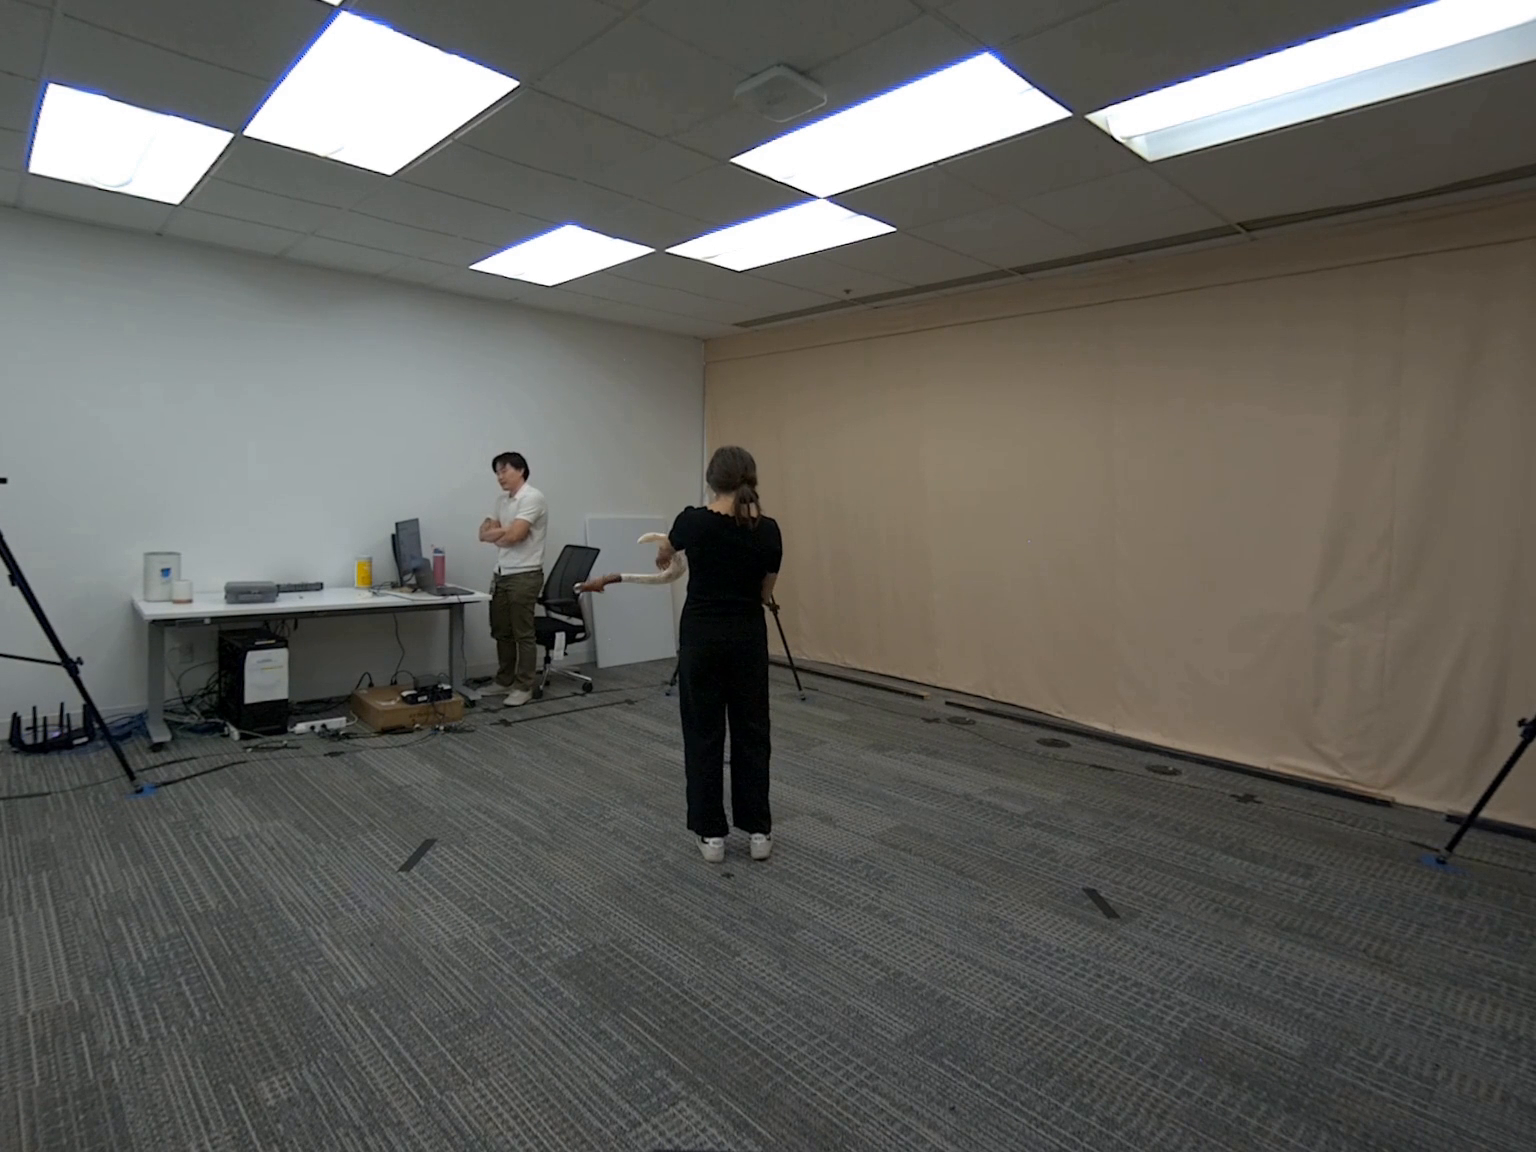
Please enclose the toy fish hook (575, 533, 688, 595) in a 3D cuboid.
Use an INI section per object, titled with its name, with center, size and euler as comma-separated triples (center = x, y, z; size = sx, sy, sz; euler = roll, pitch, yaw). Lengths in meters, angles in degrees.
[toy fish hook]
center = -0.571, -0.038, 3.556
size = 0.501, 0.226, 0.048
euler = -13, -9, -20
